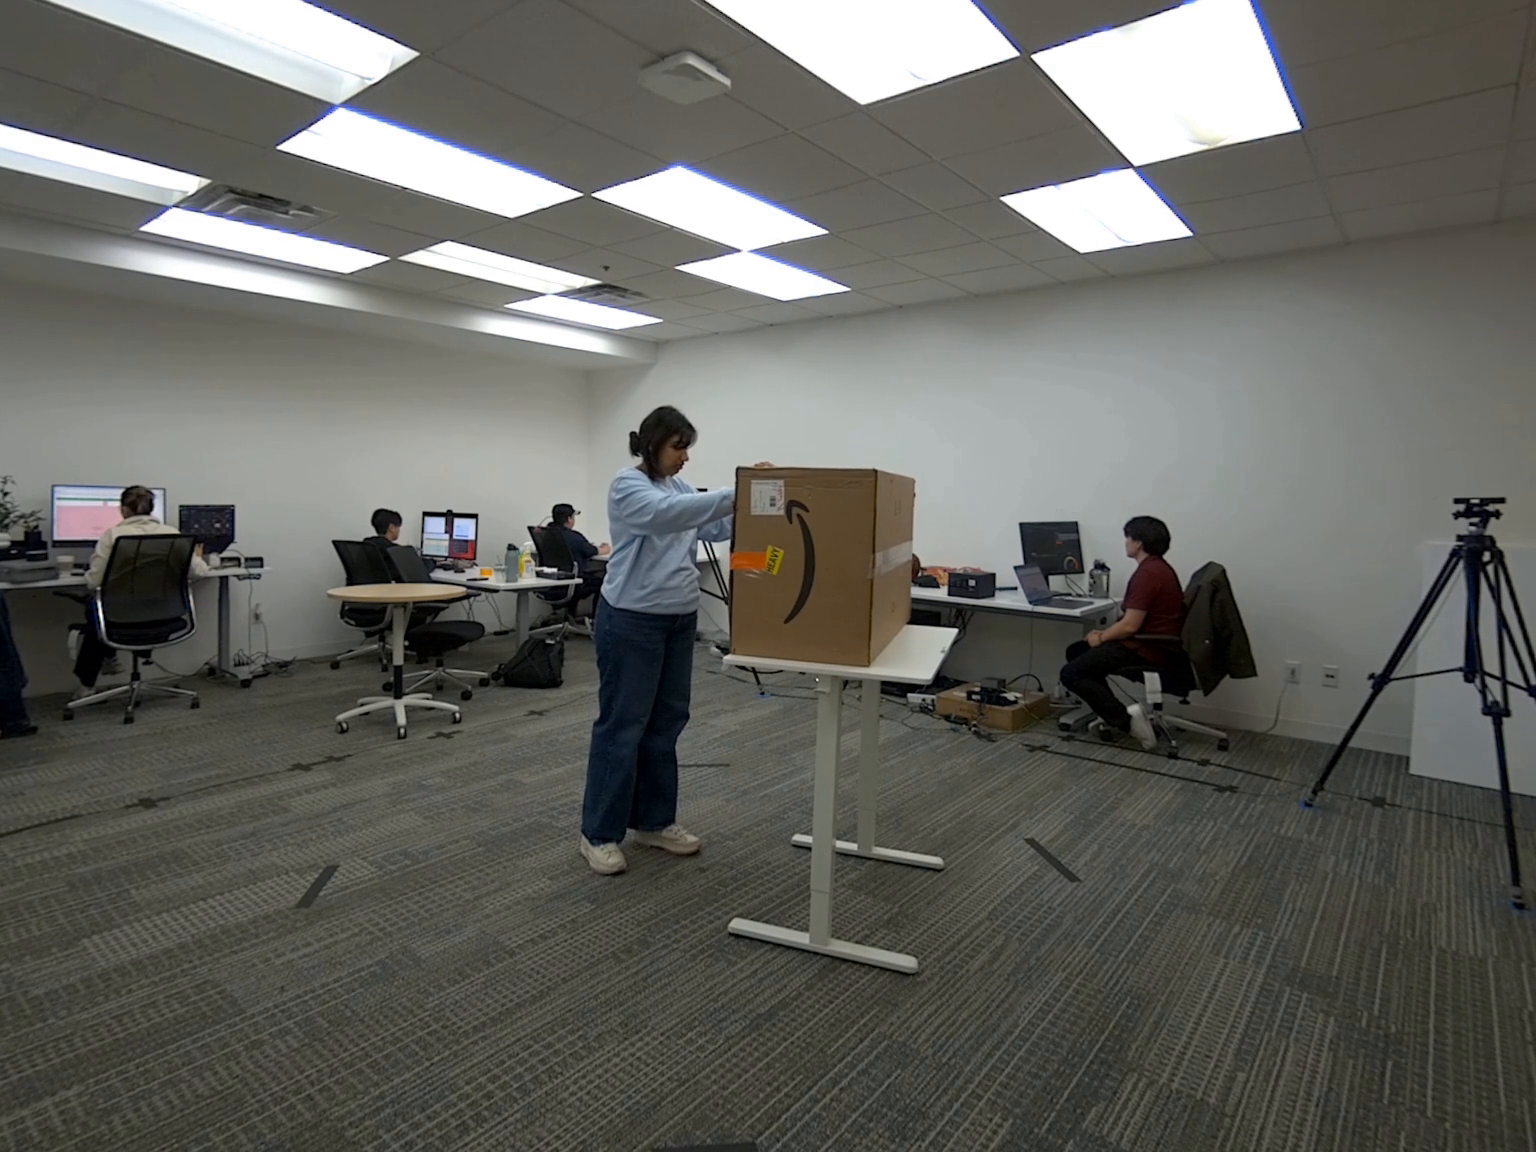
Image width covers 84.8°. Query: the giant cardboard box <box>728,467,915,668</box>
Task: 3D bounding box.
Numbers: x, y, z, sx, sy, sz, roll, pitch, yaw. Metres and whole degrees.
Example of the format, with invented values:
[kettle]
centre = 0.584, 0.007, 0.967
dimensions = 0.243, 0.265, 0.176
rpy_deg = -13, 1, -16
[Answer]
[giant cardboard box]
centre = 0.224, -0.079, 2.972
dimensions = 0.434, 0.576, 1.010
rpy_deg = 2, 5, 16
